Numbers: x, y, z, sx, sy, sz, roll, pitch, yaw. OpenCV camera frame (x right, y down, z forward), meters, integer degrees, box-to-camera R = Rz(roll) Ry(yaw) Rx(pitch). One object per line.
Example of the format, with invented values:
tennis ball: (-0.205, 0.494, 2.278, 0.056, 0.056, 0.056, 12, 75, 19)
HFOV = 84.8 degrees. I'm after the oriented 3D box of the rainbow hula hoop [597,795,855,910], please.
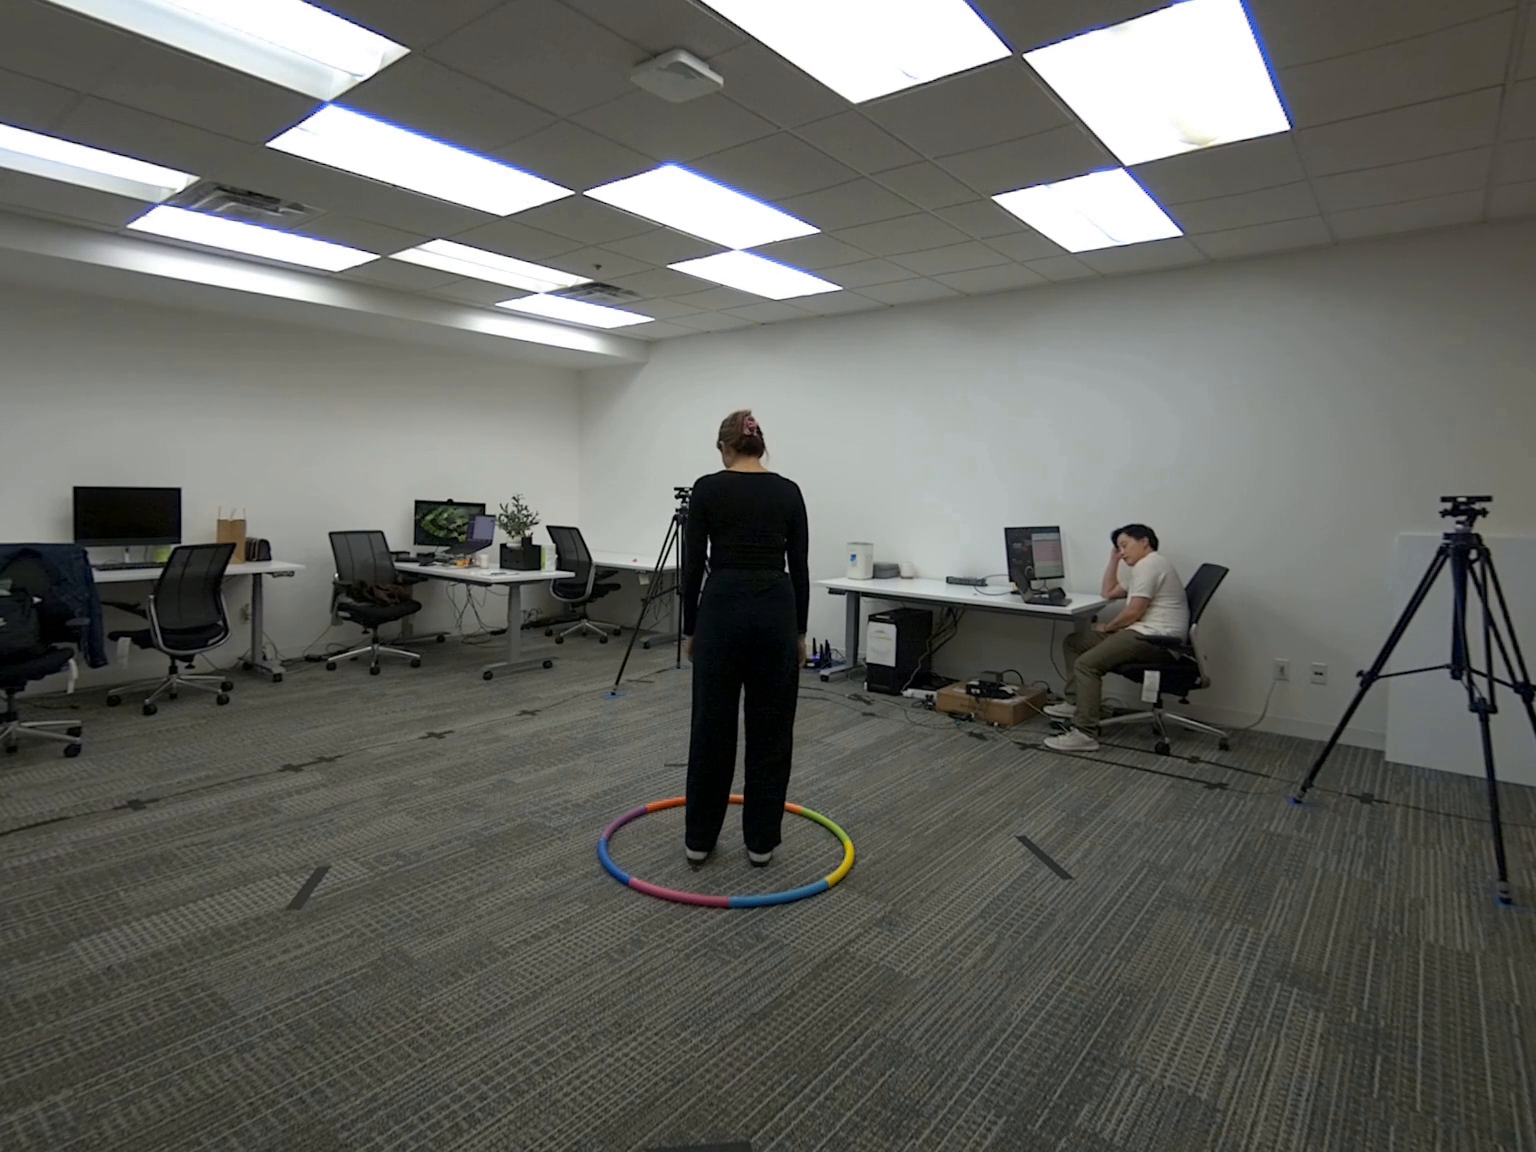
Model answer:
rainbow hula hoop: (-0.170, 1.020, 3.294, 0.978, 0.035, 0.984, 1, 6, -2)
